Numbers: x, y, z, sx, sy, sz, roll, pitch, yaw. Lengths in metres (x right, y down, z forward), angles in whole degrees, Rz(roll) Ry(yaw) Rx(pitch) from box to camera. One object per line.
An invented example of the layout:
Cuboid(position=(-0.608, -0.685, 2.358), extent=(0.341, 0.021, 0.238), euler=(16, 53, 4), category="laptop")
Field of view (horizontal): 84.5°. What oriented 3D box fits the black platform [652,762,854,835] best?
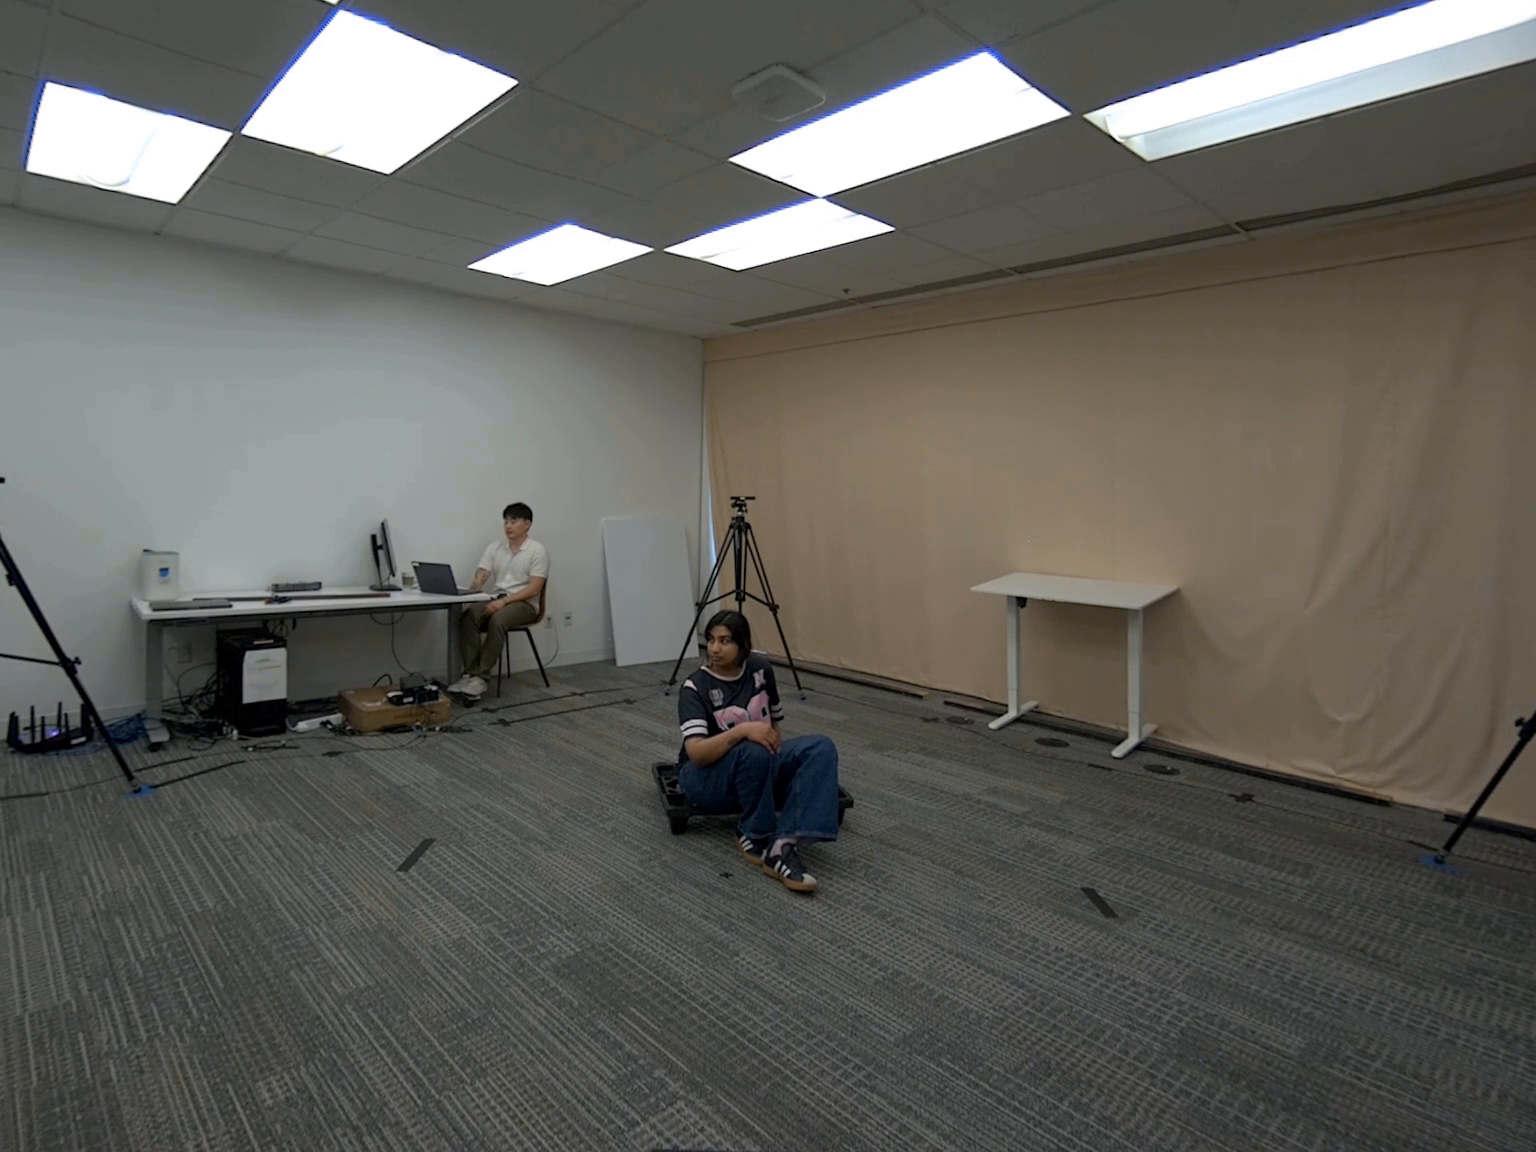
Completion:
Cuboid(position=(-0.095, 0.979, 3.767), extent=(0.798, 0.143, 0.612), euler=(0, 5, -12), category="black platform")
